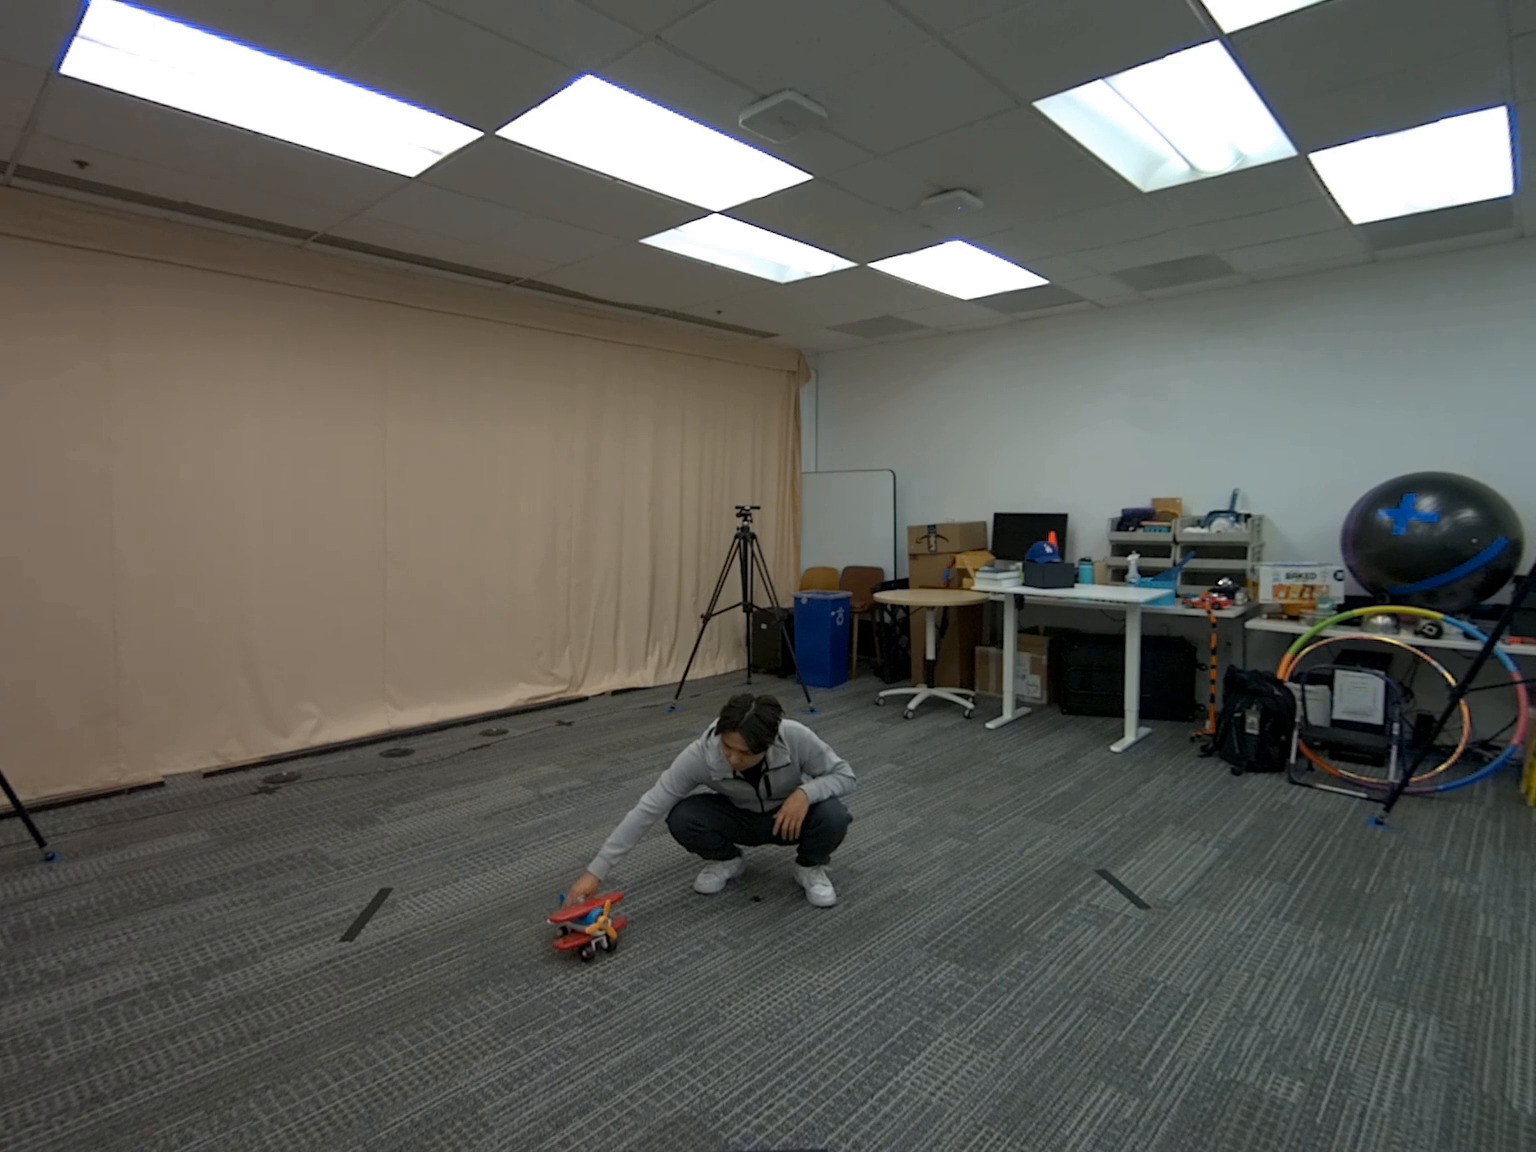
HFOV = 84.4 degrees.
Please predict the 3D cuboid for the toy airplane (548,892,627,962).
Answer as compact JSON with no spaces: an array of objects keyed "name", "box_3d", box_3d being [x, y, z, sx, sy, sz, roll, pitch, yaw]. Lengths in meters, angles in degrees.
[{"name":"toy airplane","box_3d":[-0.597,1.101,2.652,0.264,0.156,0.247,4,6,17]}]
